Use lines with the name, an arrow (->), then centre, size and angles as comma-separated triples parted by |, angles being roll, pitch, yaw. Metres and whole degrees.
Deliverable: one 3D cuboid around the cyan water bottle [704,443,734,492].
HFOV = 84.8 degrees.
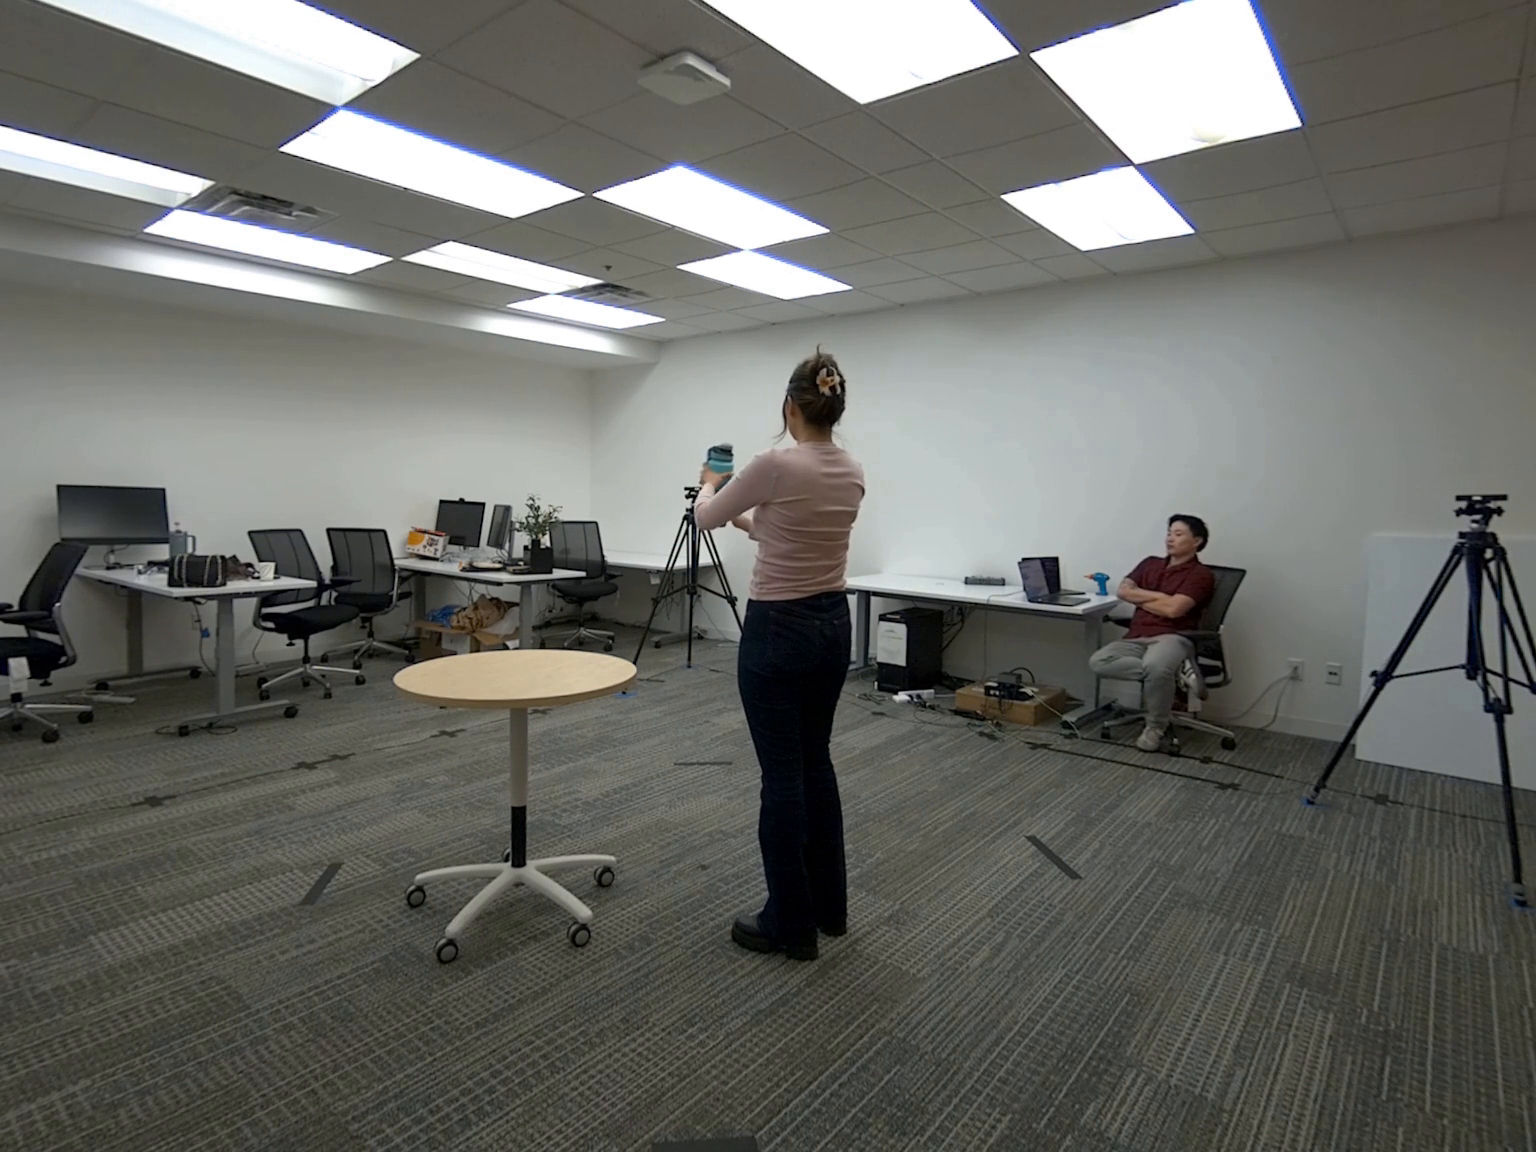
cyan water bottle -> -0.184, -0.311, 2.901 | 0.092, 0.281, 0.093 | 5, 9, -3
